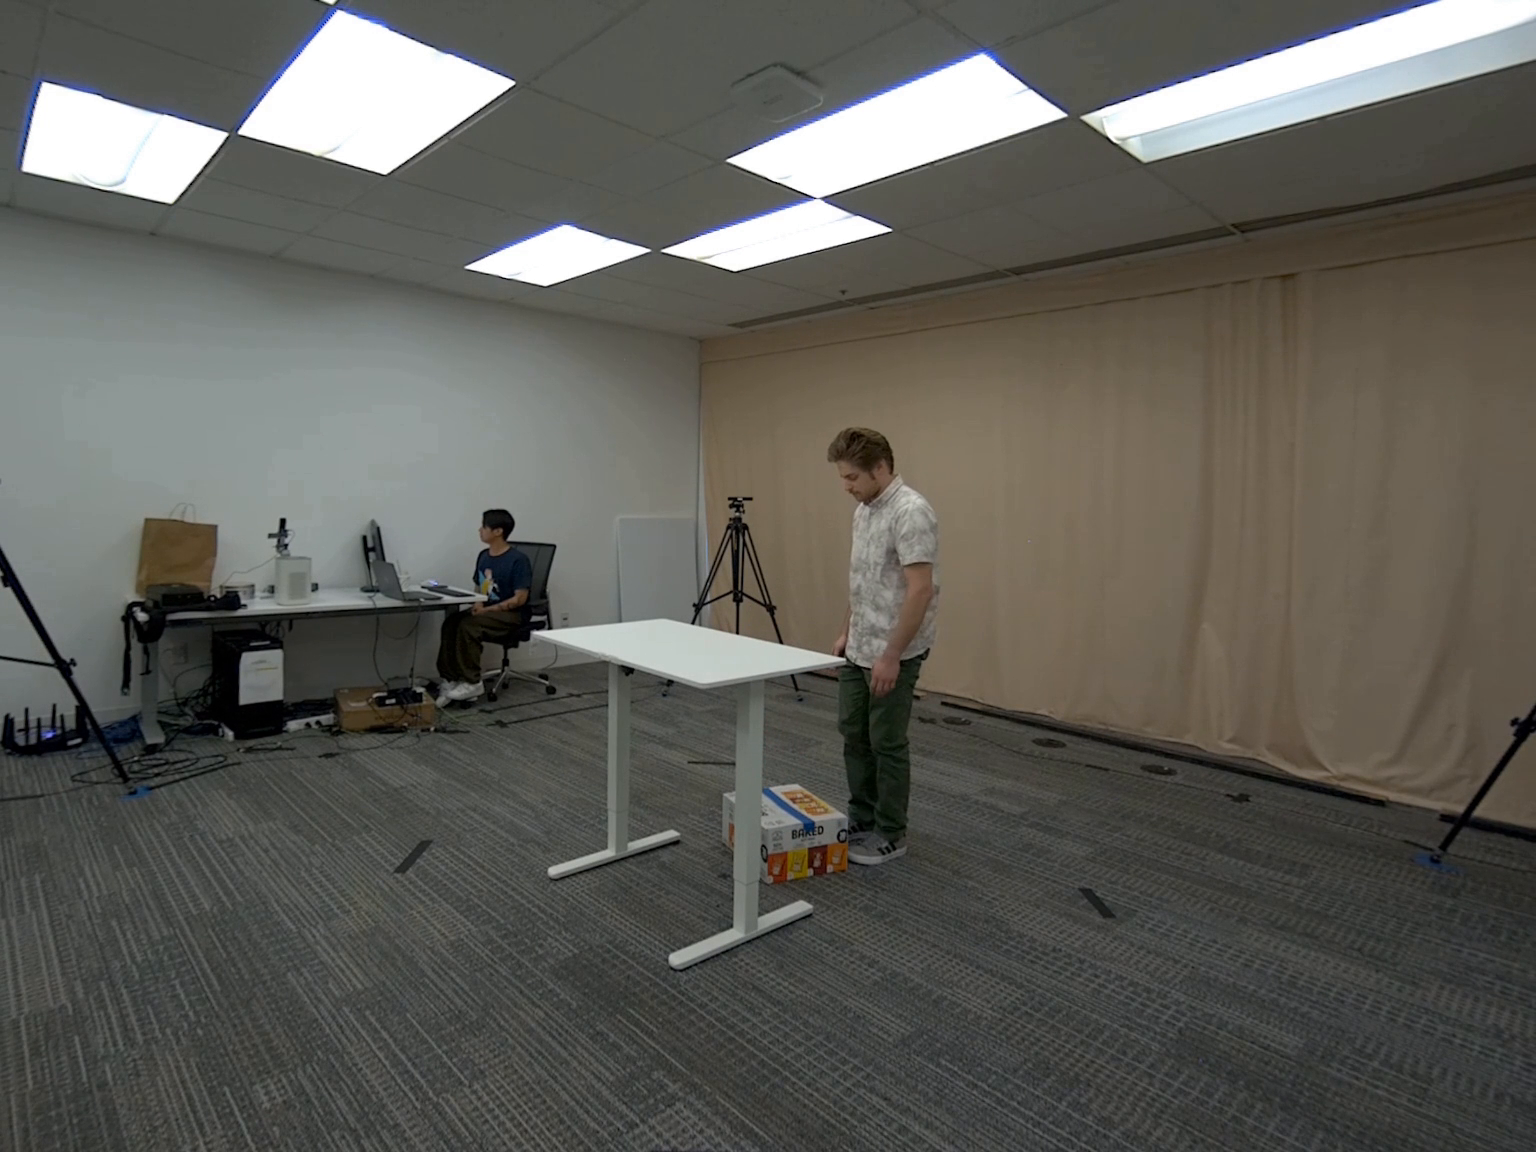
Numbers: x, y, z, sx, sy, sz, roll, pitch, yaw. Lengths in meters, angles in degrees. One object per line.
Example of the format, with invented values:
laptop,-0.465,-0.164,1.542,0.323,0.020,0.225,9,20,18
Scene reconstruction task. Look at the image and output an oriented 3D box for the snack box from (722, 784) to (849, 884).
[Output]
snack box,0.051,0.994,3.287,0.334,0.205,0.414,-1,5,-26
